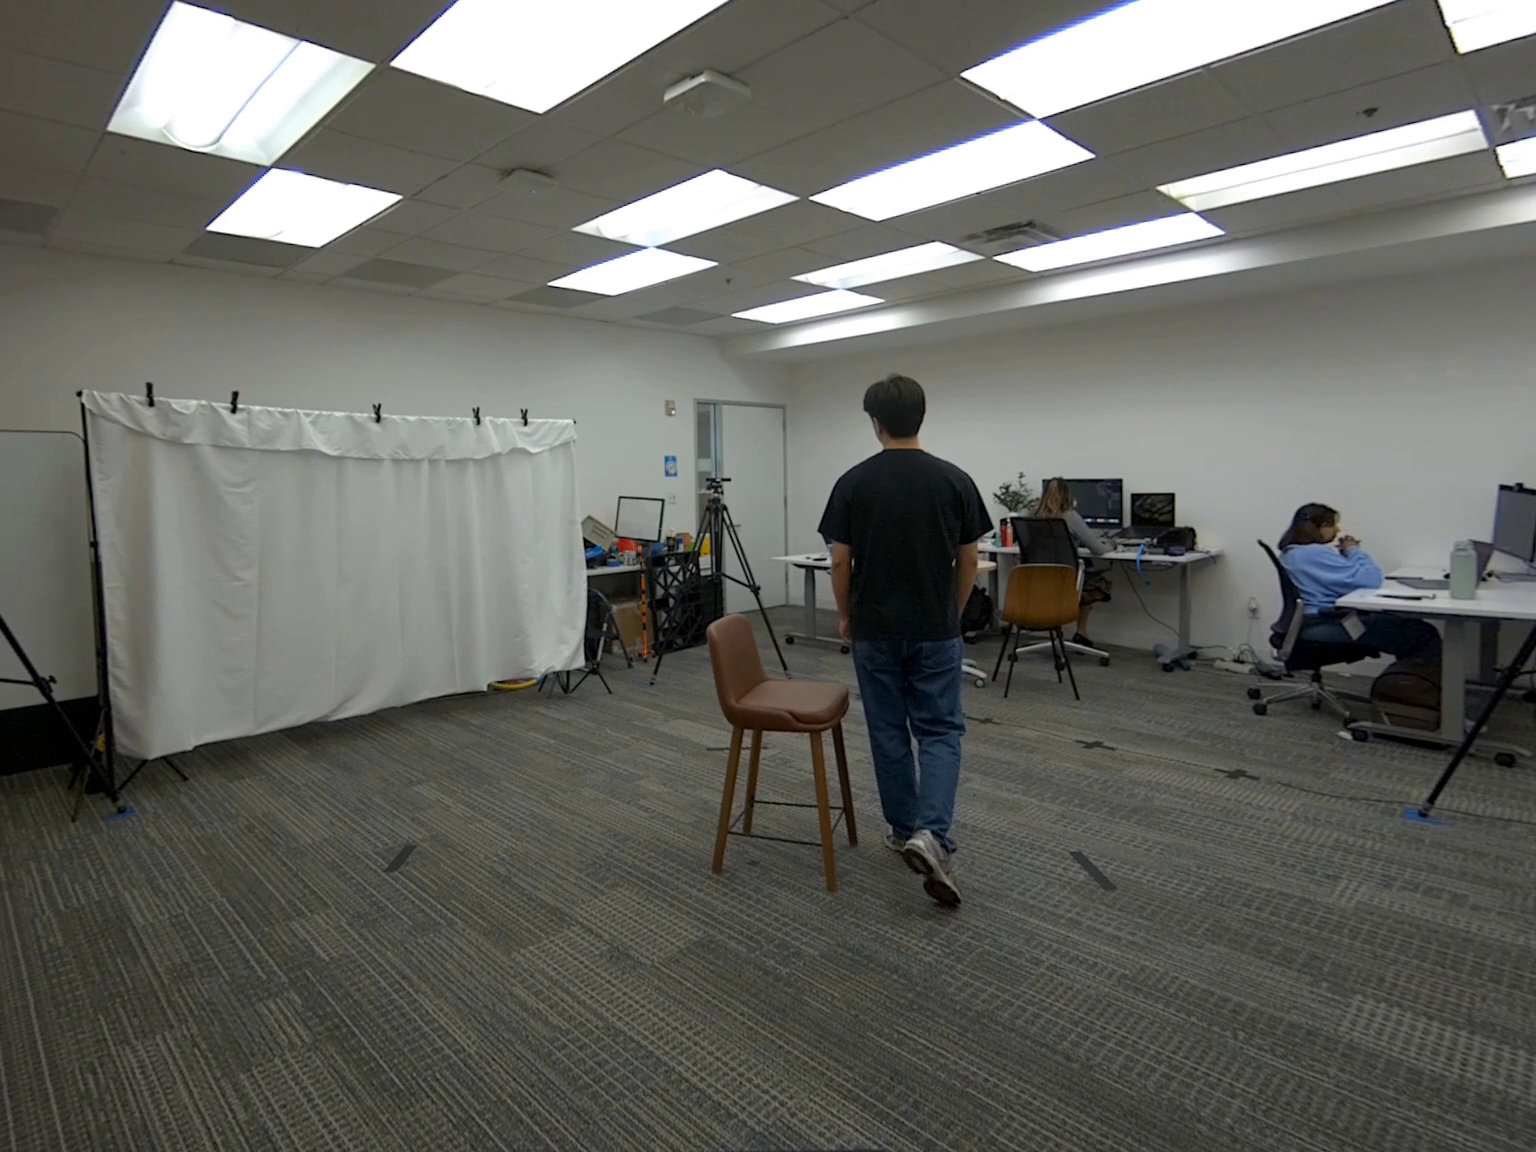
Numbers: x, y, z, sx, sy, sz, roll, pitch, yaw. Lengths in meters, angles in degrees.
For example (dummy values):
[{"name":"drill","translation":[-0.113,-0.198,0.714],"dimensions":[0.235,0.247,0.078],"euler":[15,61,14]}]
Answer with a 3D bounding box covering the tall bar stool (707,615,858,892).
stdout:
[{"name":"tall bar stool","translation":[0.061,0.606,3.117],"dimensions":[0.476,0.888,0.449],"euler":[-1,3,20]}]
